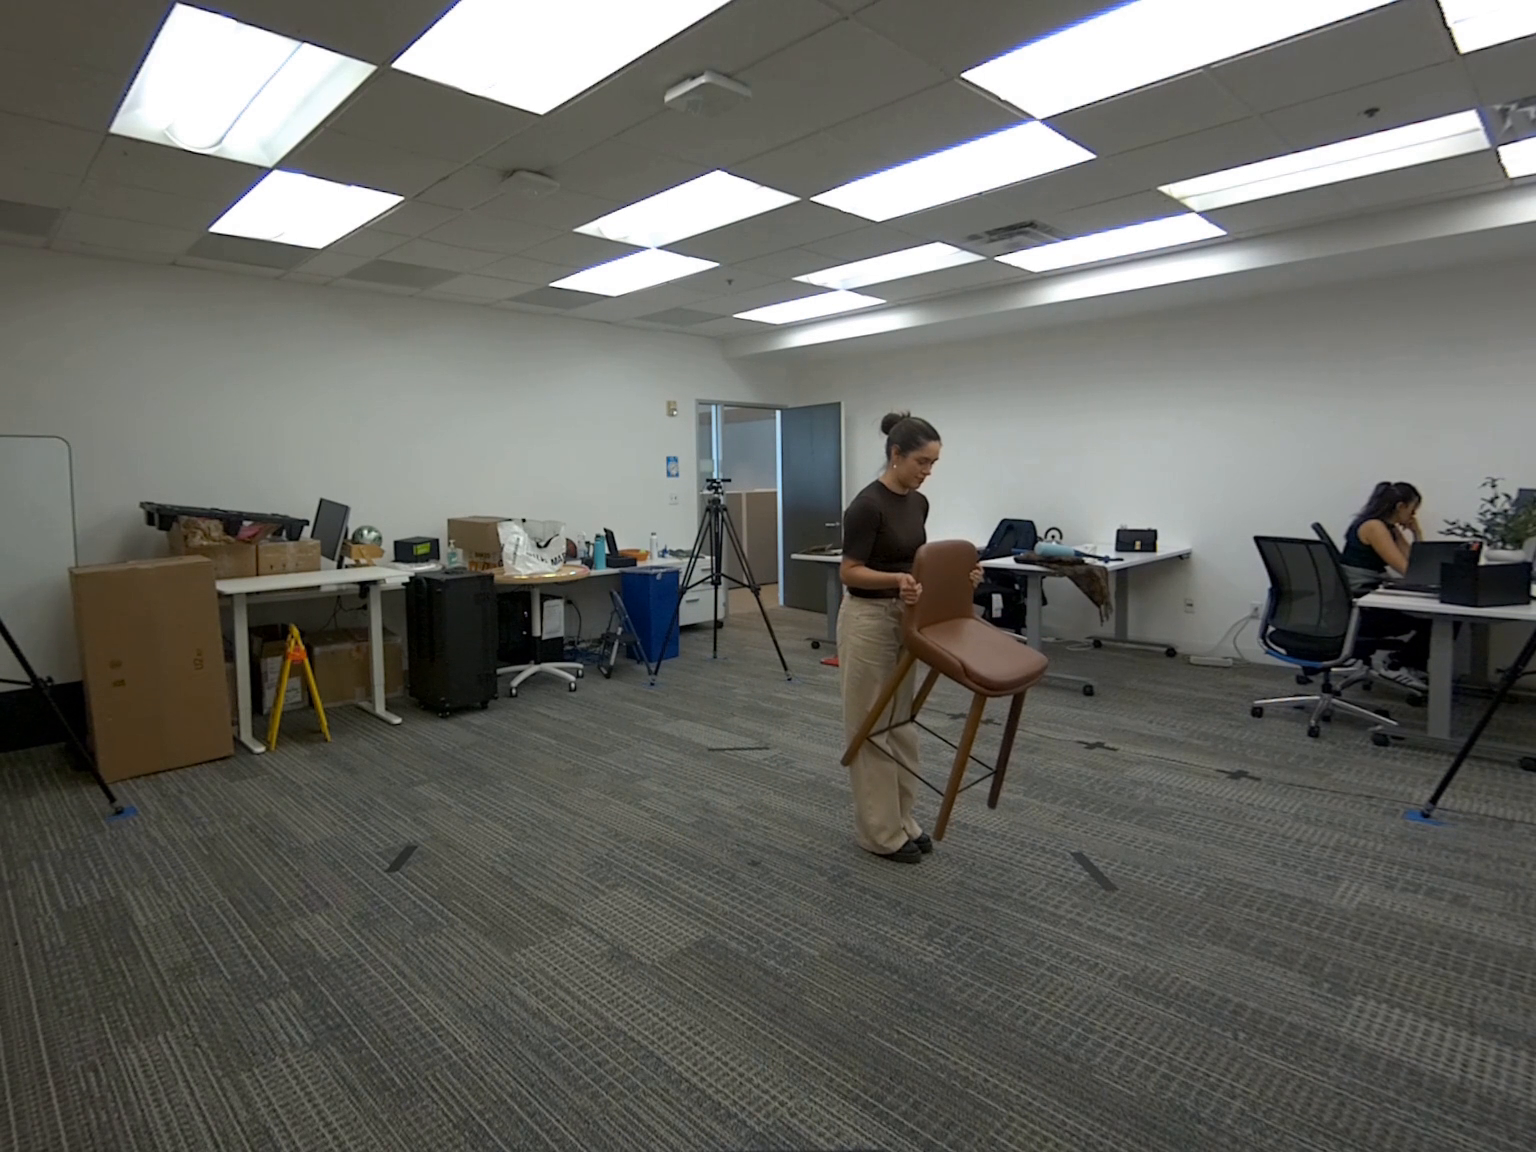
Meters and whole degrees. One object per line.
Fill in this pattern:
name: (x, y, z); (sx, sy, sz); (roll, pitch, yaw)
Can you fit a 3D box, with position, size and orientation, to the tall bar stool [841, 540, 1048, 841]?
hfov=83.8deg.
tall bar stool: (0.663, 0.378, 2.978); (0.485, 0.880, 0.444); (29, 22, 39)
